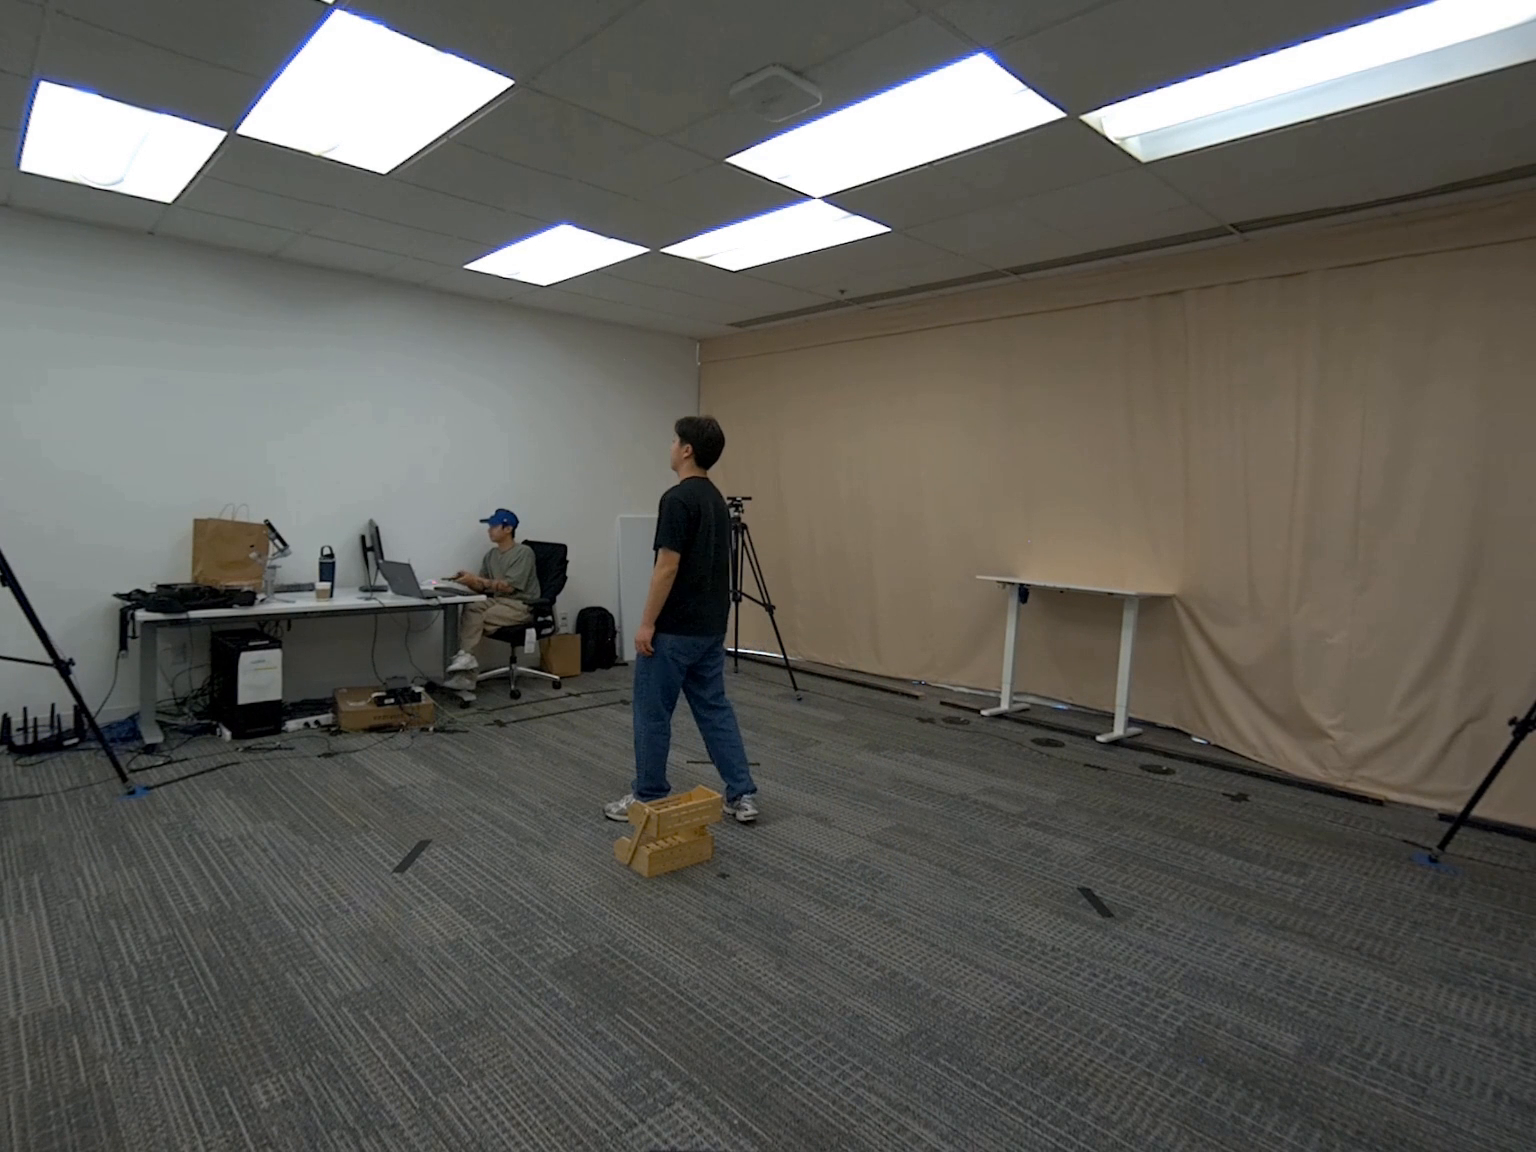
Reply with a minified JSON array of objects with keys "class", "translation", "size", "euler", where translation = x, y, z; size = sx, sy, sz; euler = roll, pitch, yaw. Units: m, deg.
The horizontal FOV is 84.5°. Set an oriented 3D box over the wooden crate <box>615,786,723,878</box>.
[{"class":"wooden crate","translation":[-0.393,0.961,3.232],"size":[0.317,0.272,0.310],"euler":[-2,7,-40]}]
